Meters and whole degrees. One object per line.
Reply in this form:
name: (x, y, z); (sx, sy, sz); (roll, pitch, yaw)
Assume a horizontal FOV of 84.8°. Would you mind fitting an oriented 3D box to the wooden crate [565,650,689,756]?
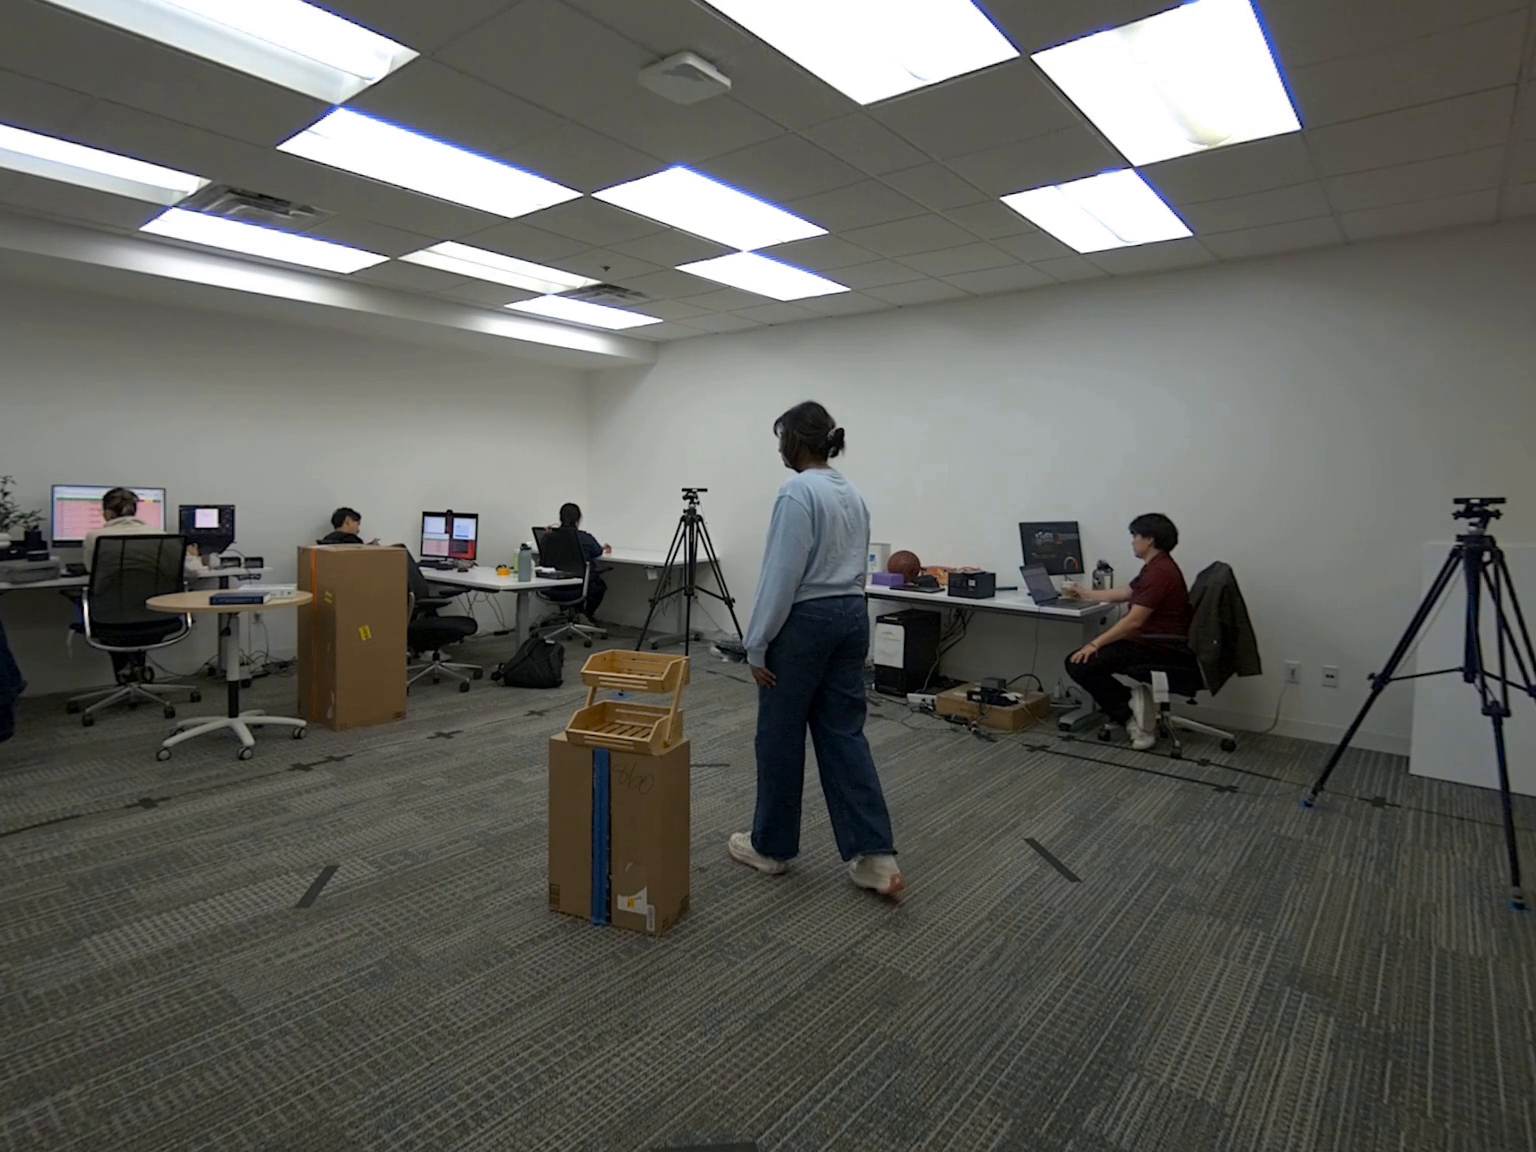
wooden crate: (-0.466, 0.402, 2.773); (0.331, 0.273, 0.296); (2, 3, 19)
